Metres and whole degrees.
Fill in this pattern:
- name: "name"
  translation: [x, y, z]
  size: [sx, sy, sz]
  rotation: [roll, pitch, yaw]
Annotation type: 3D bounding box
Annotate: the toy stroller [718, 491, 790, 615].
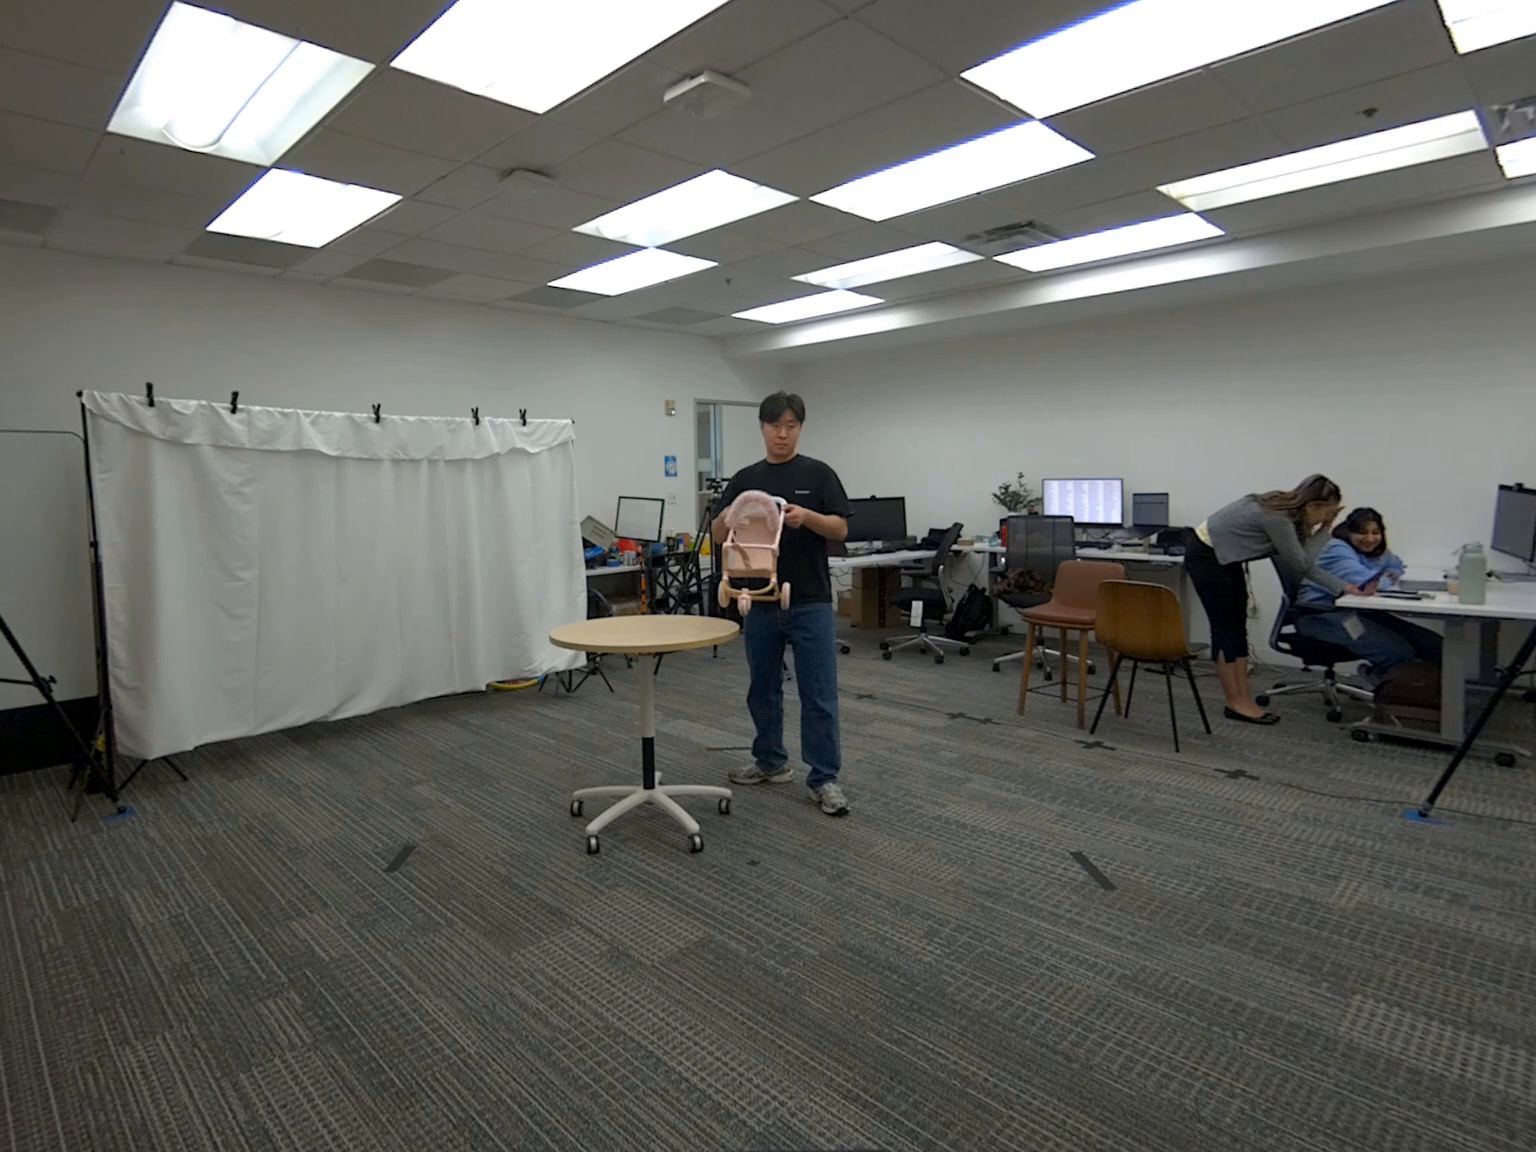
- name: "toy stroller"
  translation: [-0.062, -0.089, 3.357]
  size: [0.285, 0.540, 0.333]
  rotation: [1, -11, 13]
